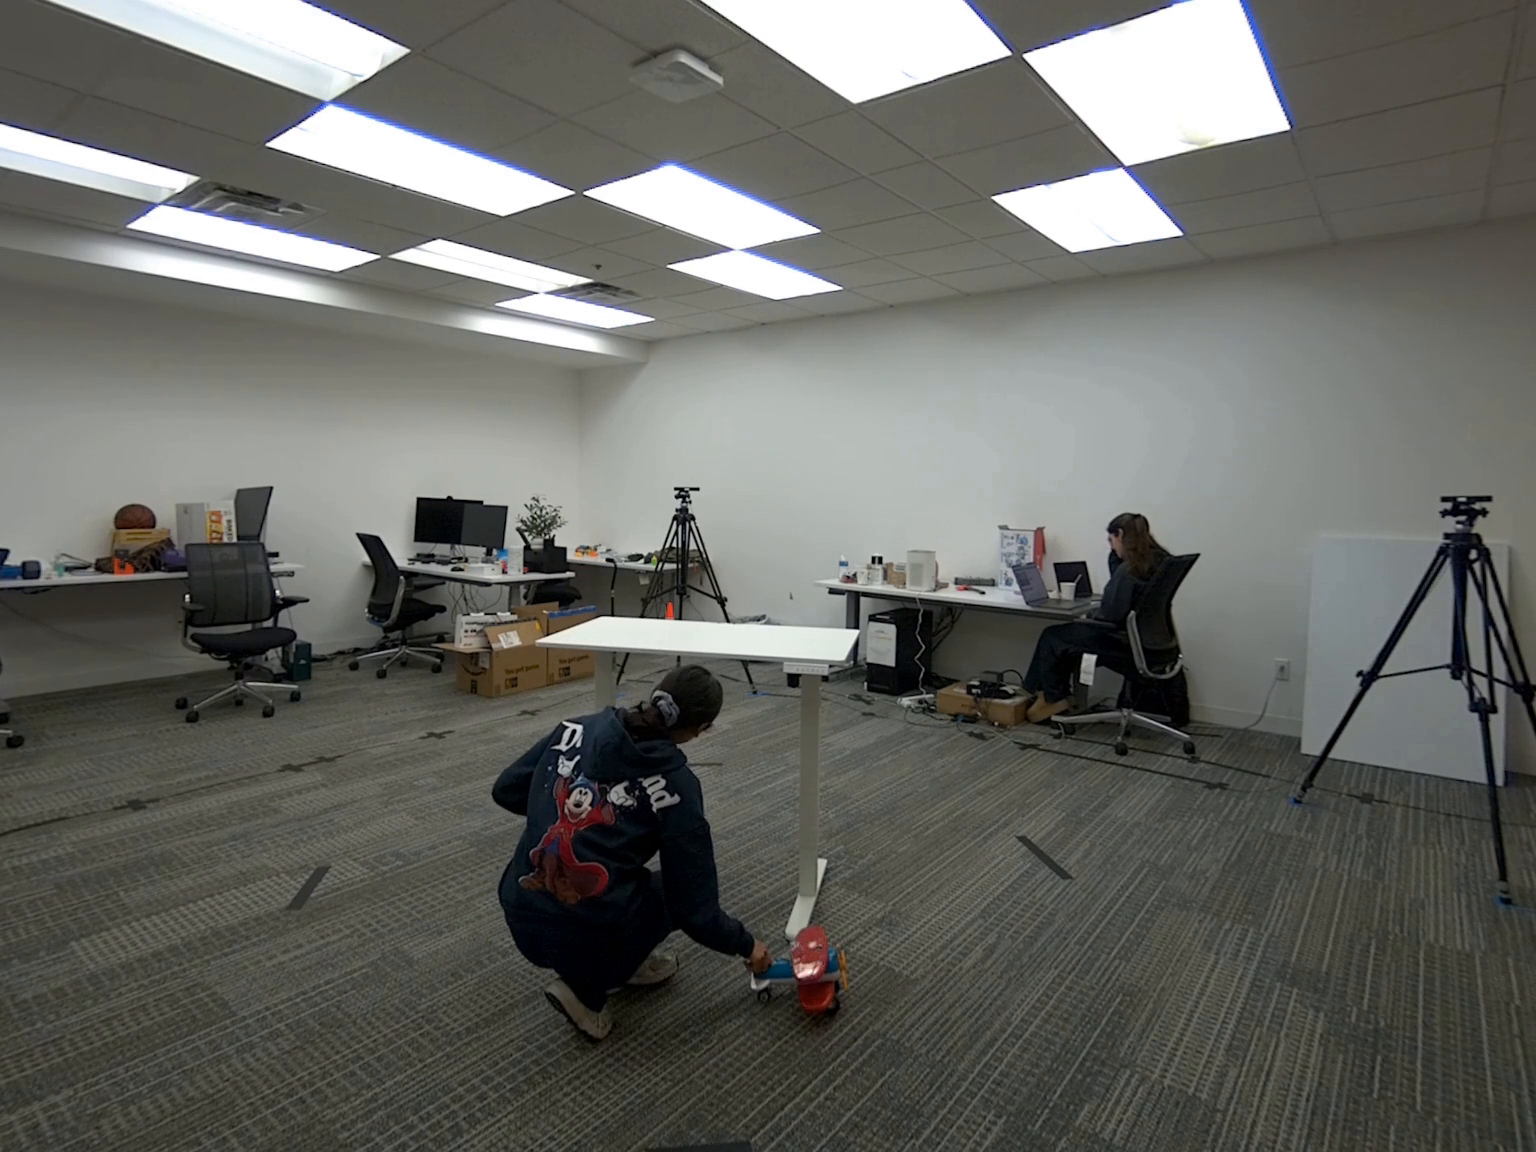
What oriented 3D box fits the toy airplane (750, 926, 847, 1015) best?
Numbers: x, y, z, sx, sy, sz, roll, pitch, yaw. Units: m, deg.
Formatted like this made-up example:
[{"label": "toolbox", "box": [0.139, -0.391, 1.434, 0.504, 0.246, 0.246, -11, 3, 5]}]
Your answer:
[{"label": "toy airplane", "box": [0.091, 1.081, 2.296, 0.254, 0.155, 0.258, -2, 7, -23]}]
